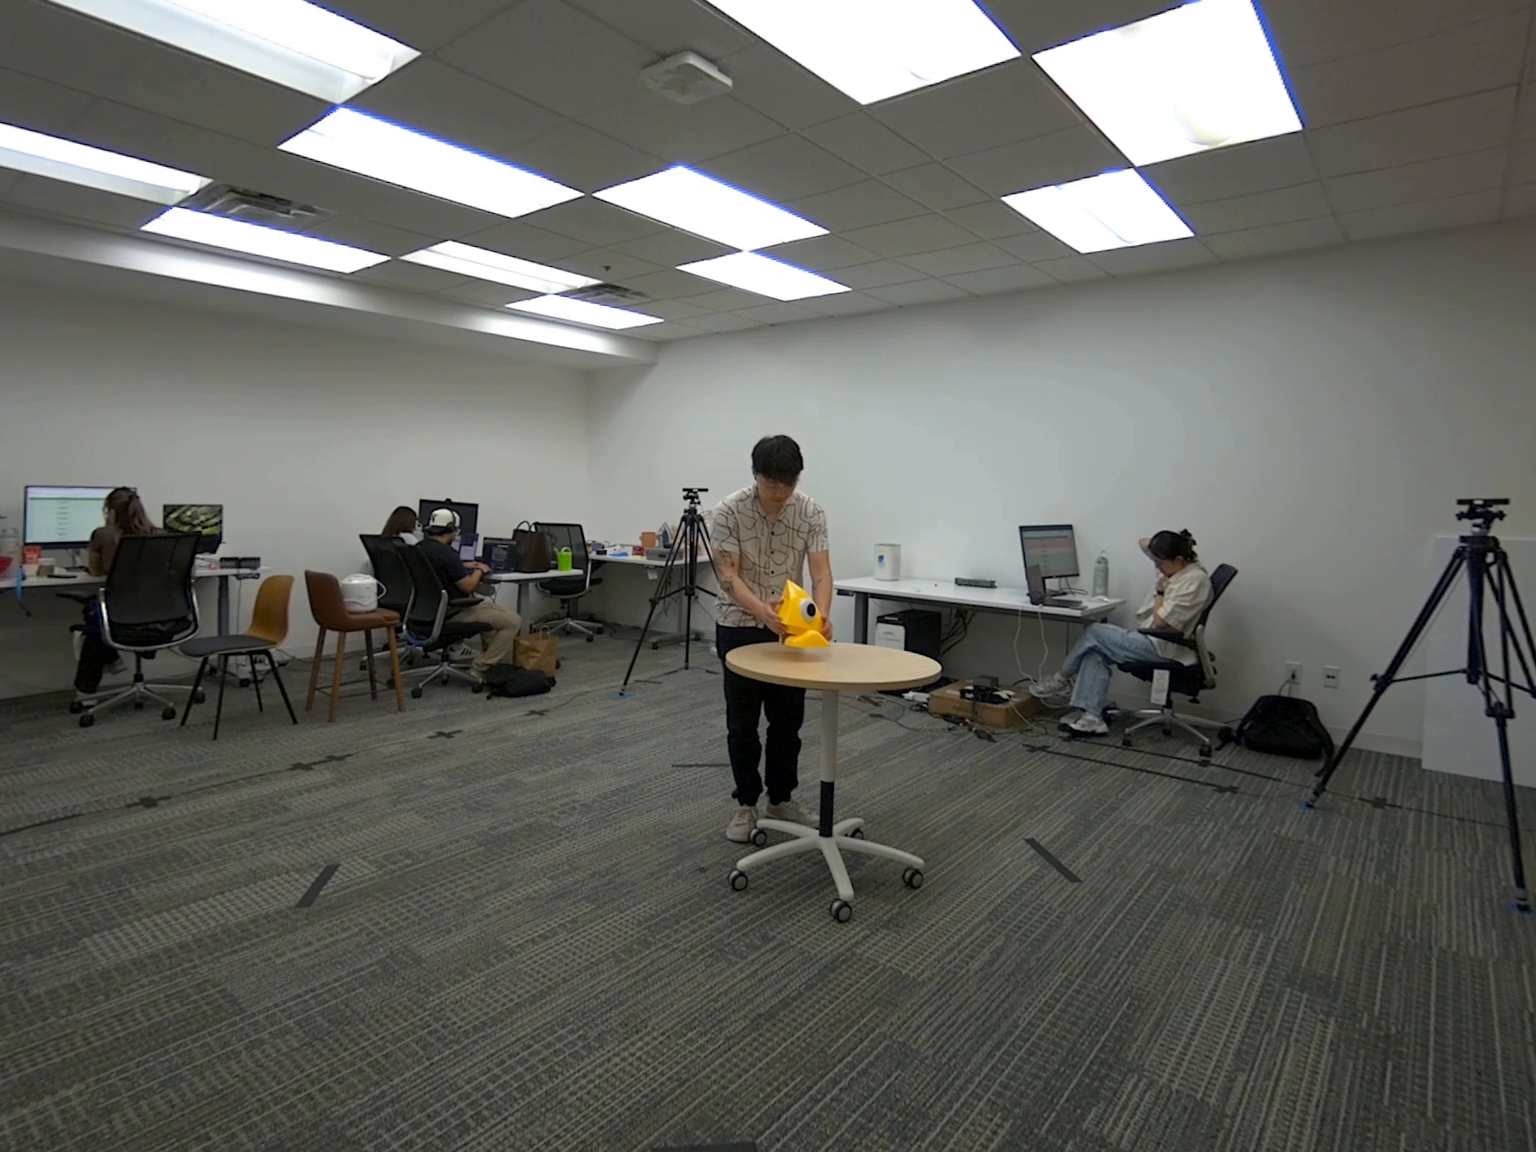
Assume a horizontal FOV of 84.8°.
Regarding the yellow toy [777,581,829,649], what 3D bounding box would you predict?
[{"bbox_3d":[0.113,0.126,3.089,0.190,0.231,0.208,3,0,-14],"label":"yellow toy"}]
